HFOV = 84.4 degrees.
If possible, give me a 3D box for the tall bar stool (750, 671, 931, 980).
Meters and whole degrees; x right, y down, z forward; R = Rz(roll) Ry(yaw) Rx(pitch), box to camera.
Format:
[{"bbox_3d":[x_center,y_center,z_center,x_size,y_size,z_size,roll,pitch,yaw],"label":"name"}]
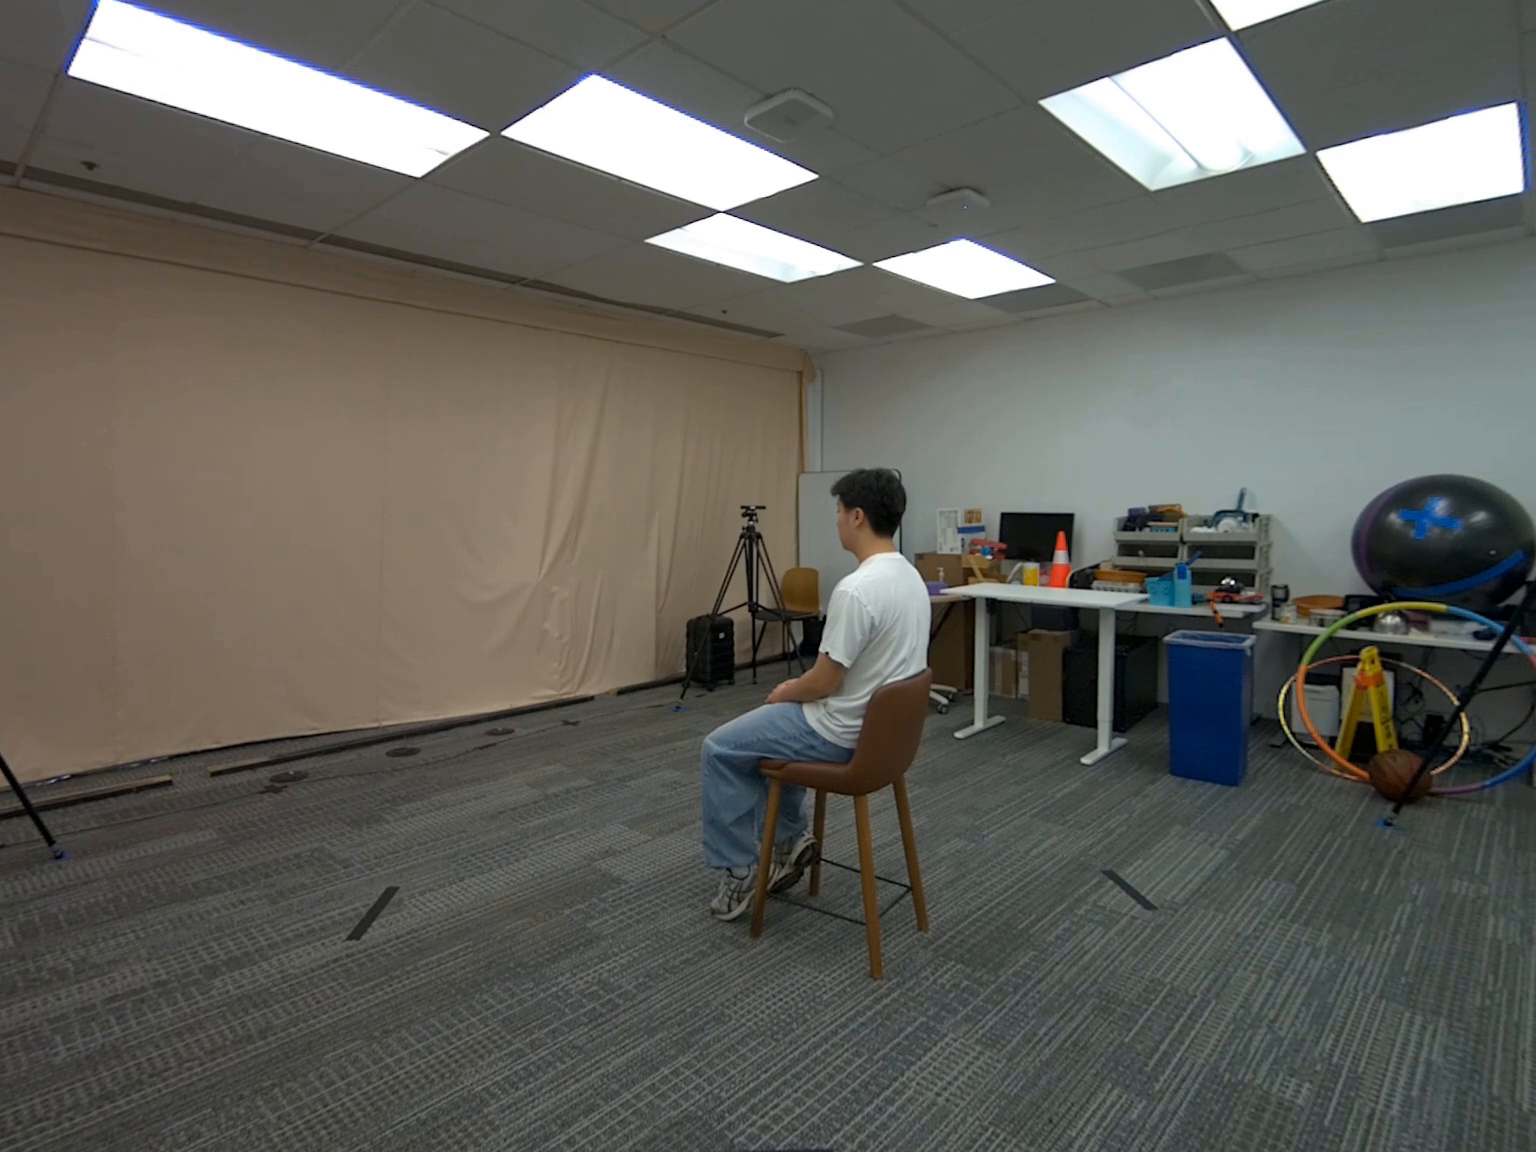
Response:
[{"bbox_3d":[0.254,0.731,2.712,0.482,0.887,0.444,5,7,34],"label":"tall bar stool"}]
